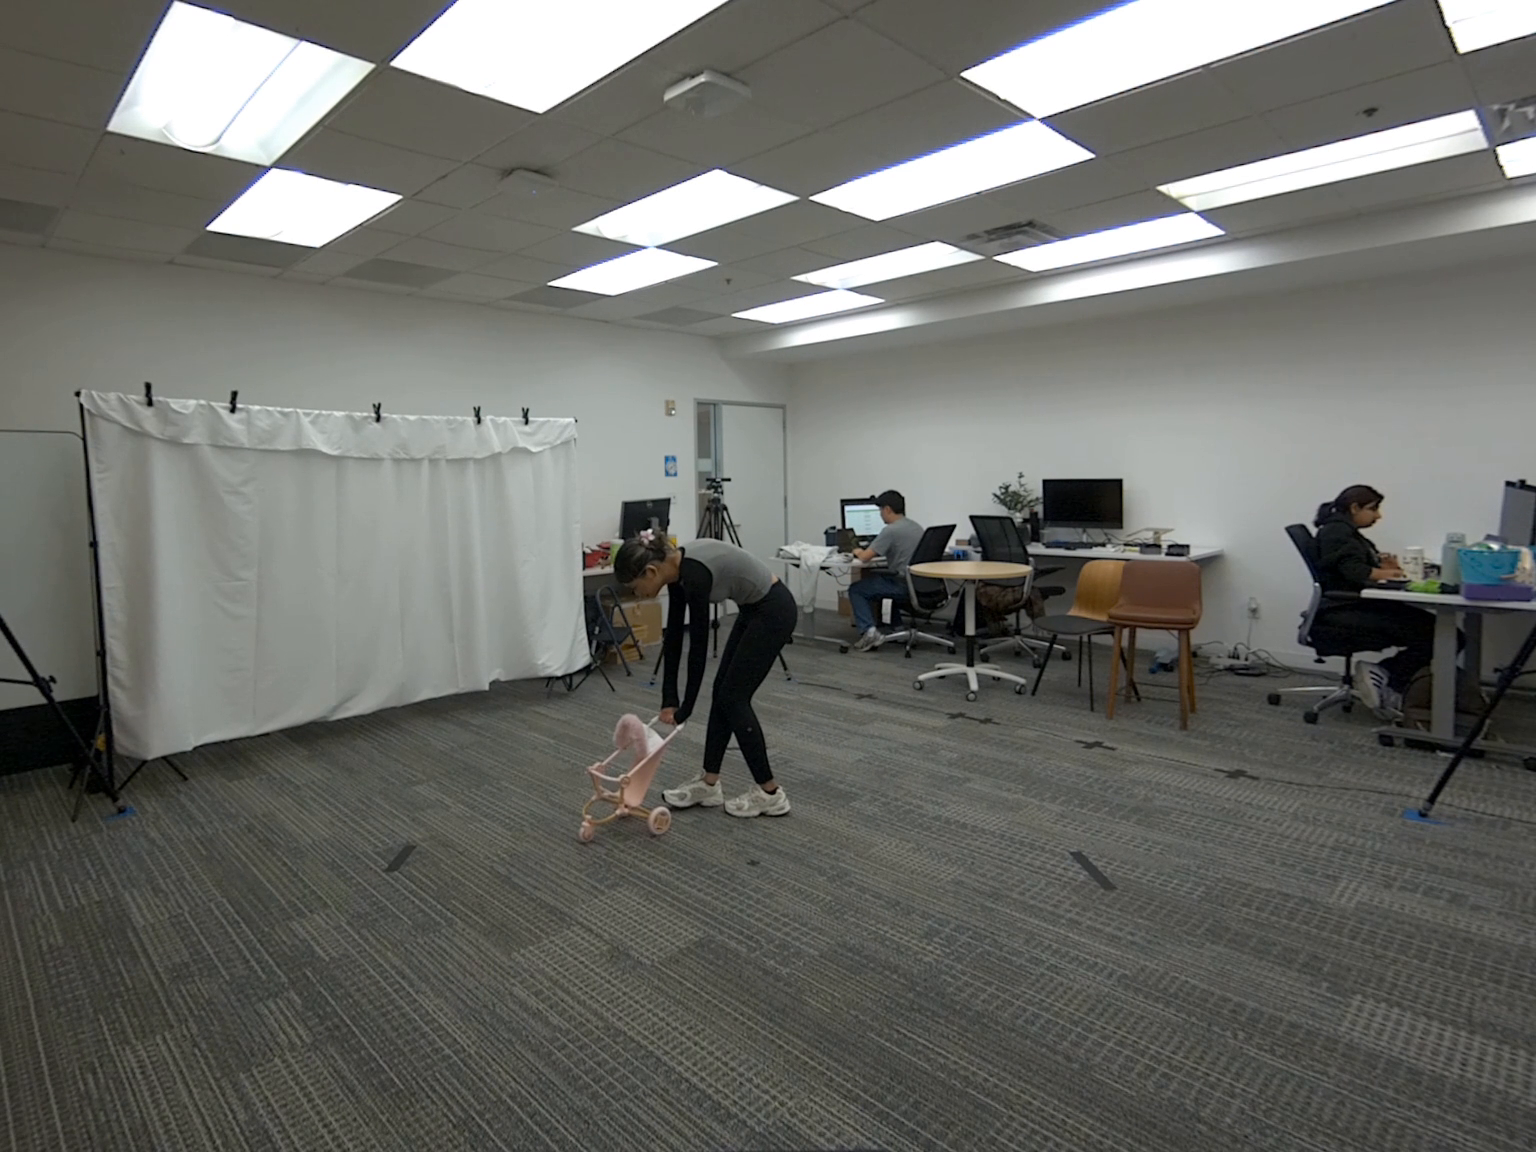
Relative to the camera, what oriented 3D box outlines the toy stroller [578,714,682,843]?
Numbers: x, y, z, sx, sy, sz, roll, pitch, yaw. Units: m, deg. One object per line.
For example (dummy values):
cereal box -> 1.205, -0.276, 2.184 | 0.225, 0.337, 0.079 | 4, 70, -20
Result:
toy stroller -> -0.559, 0.791, 3.417 | 0.330, 0.537, 0.290 | 17, -8, -36
